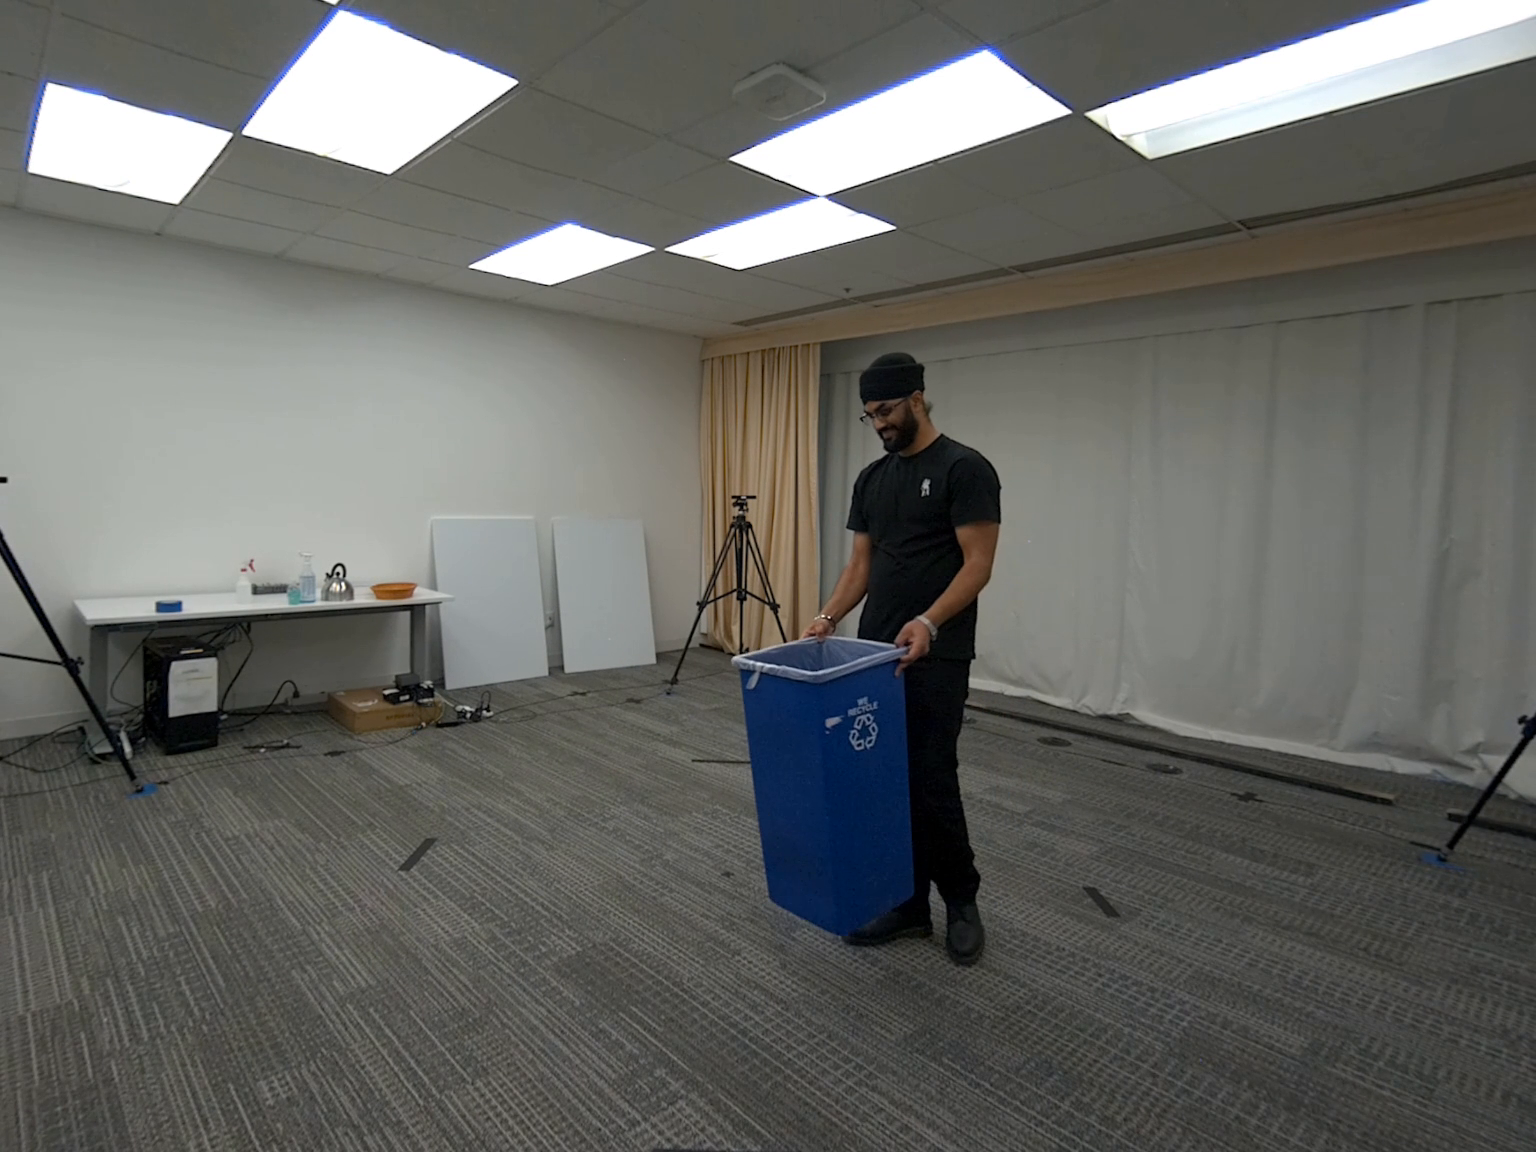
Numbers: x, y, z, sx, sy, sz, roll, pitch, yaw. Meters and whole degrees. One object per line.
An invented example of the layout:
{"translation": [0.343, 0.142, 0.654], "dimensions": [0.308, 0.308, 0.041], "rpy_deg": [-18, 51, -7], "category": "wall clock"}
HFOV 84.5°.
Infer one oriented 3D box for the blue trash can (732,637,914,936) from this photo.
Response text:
{"translation": [0.171, 0.569, 2.376], "dimensions": [0.367, 0.710, 0.387], "rpy_deg": [-10, 7, -39], "category": "blue trash can"}
